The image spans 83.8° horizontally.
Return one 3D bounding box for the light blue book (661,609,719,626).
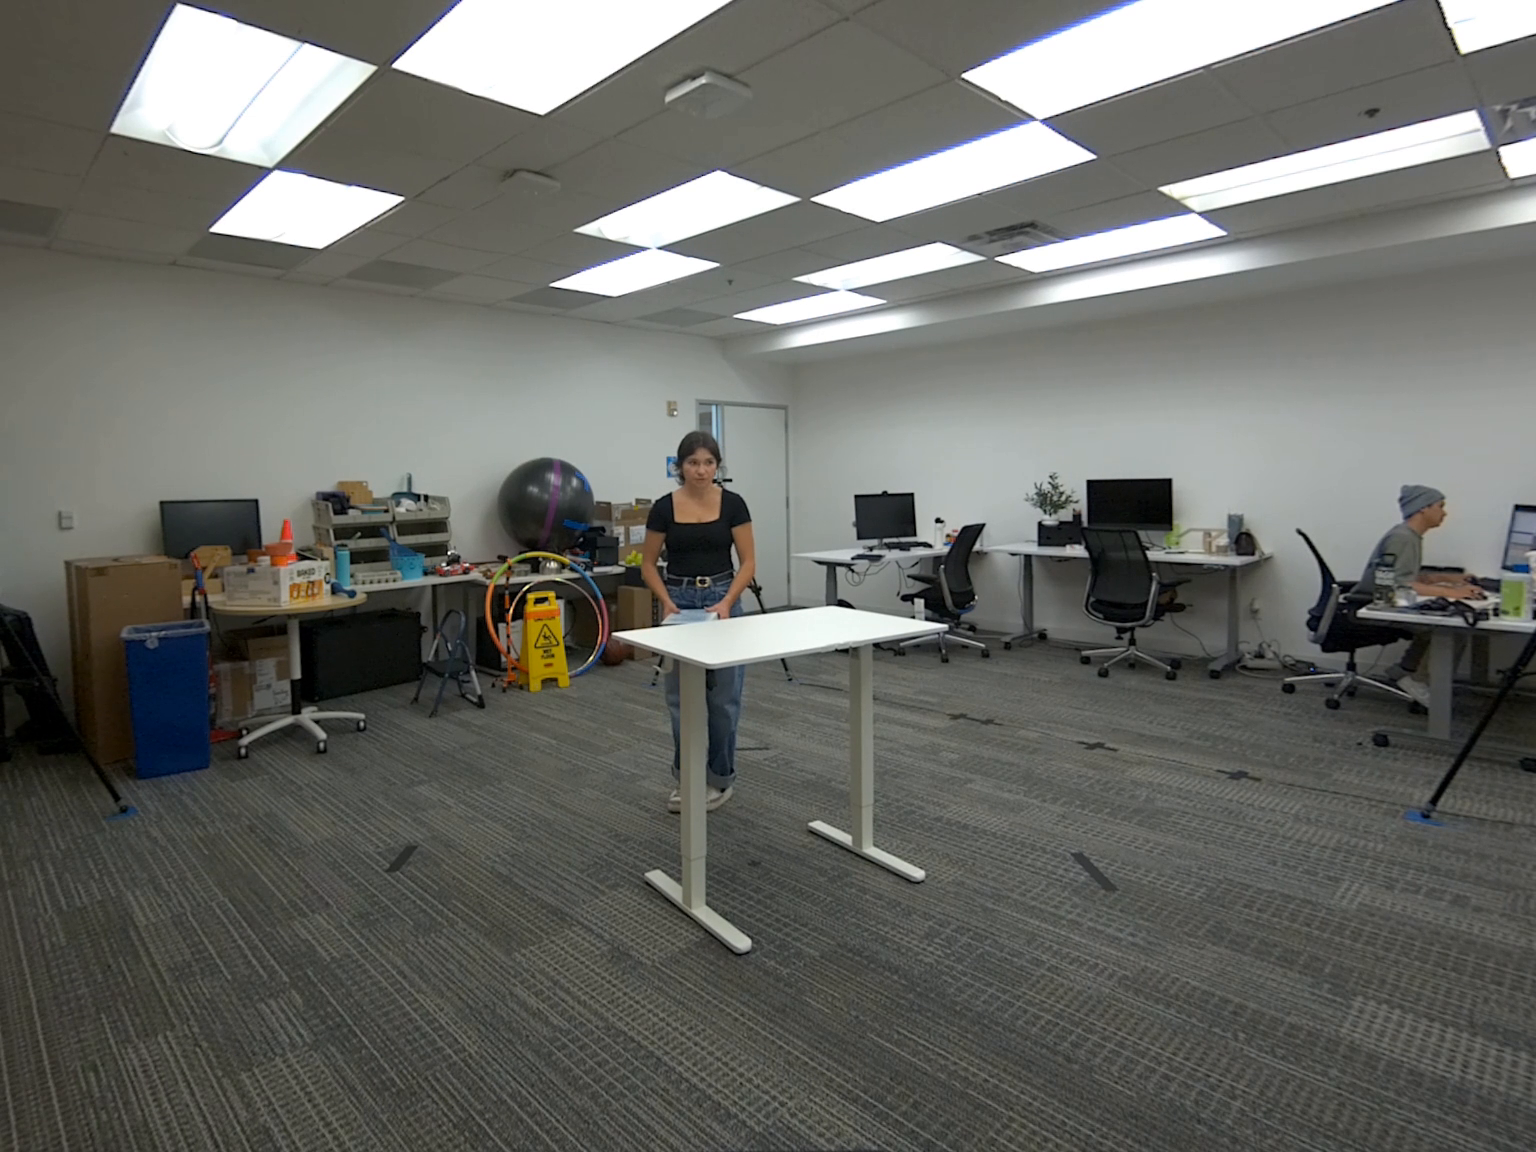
[{"bbox_3d":[-0.299,0.194,3.367,0.192,0.058,0.262,-1,8,1],"label":"light blue book"}]
